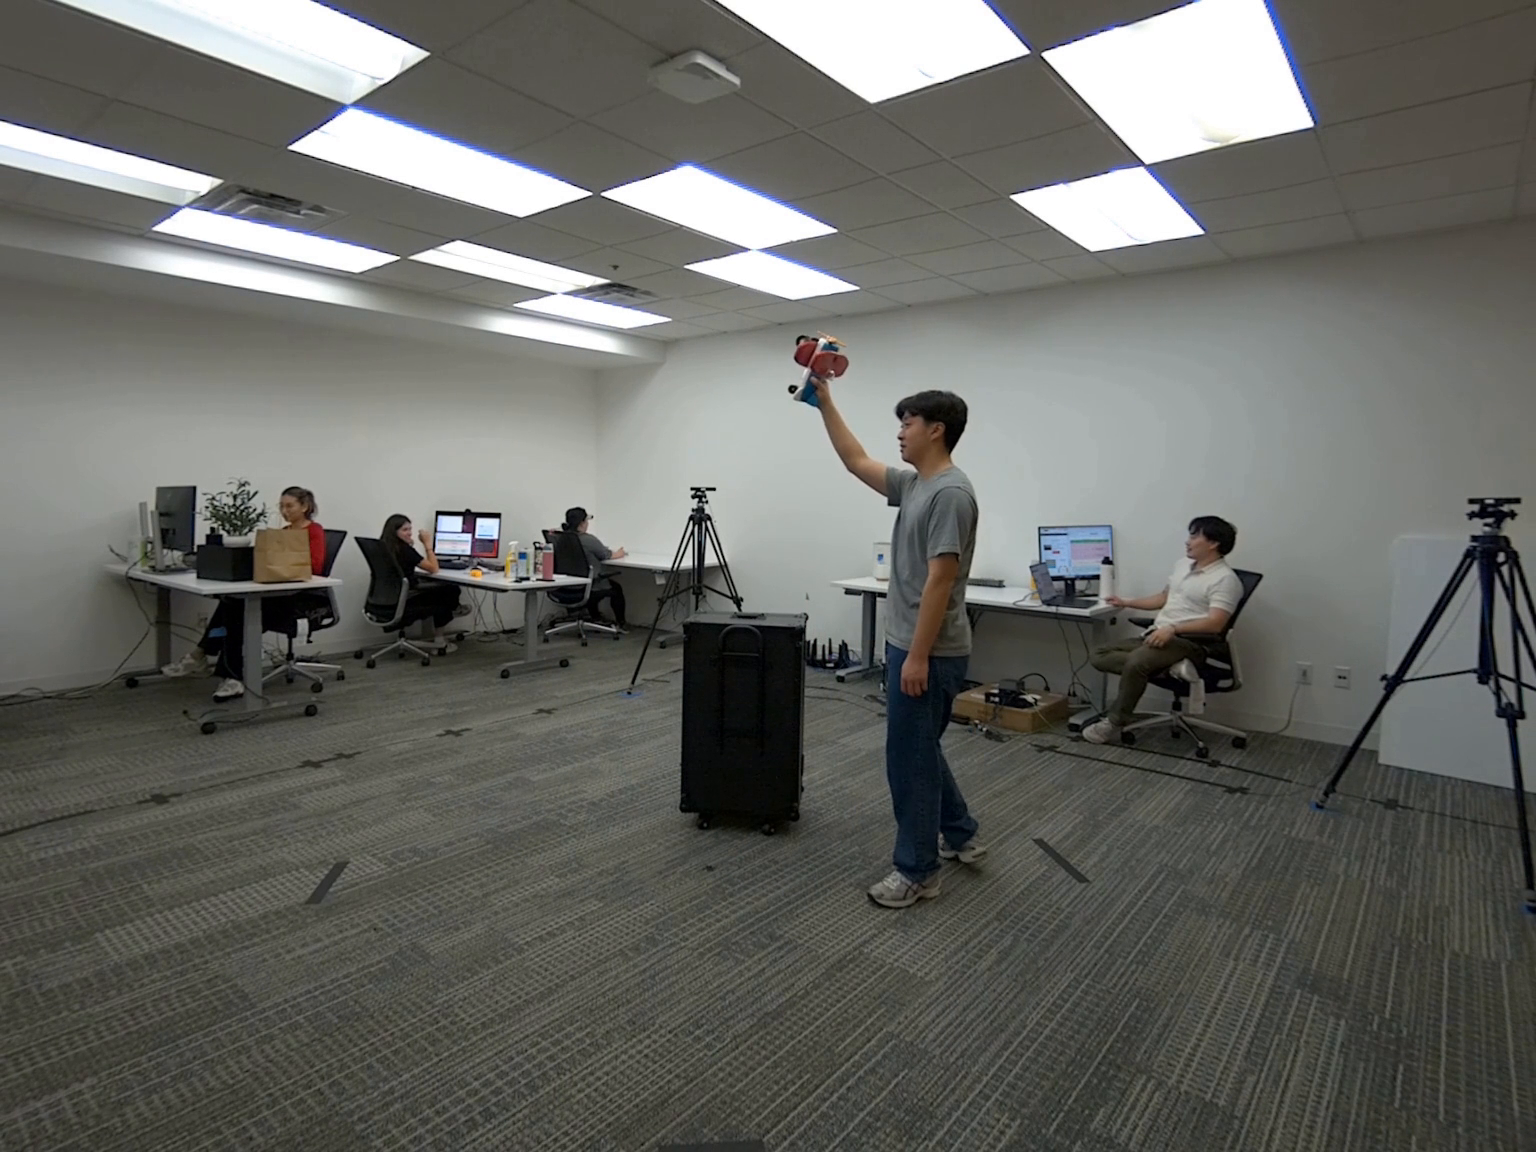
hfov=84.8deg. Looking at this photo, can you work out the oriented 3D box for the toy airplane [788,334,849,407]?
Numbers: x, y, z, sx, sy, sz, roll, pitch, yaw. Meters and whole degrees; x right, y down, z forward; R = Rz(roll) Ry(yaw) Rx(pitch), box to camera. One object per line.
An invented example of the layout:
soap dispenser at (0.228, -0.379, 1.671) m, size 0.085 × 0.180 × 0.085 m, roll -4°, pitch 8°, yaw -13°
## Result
toy airplane at (0.172, -0.770, 3.174) m, size 0.162 × 0.252 × 0.249 m, roll 22°, pitch 43°, yaw 31°
